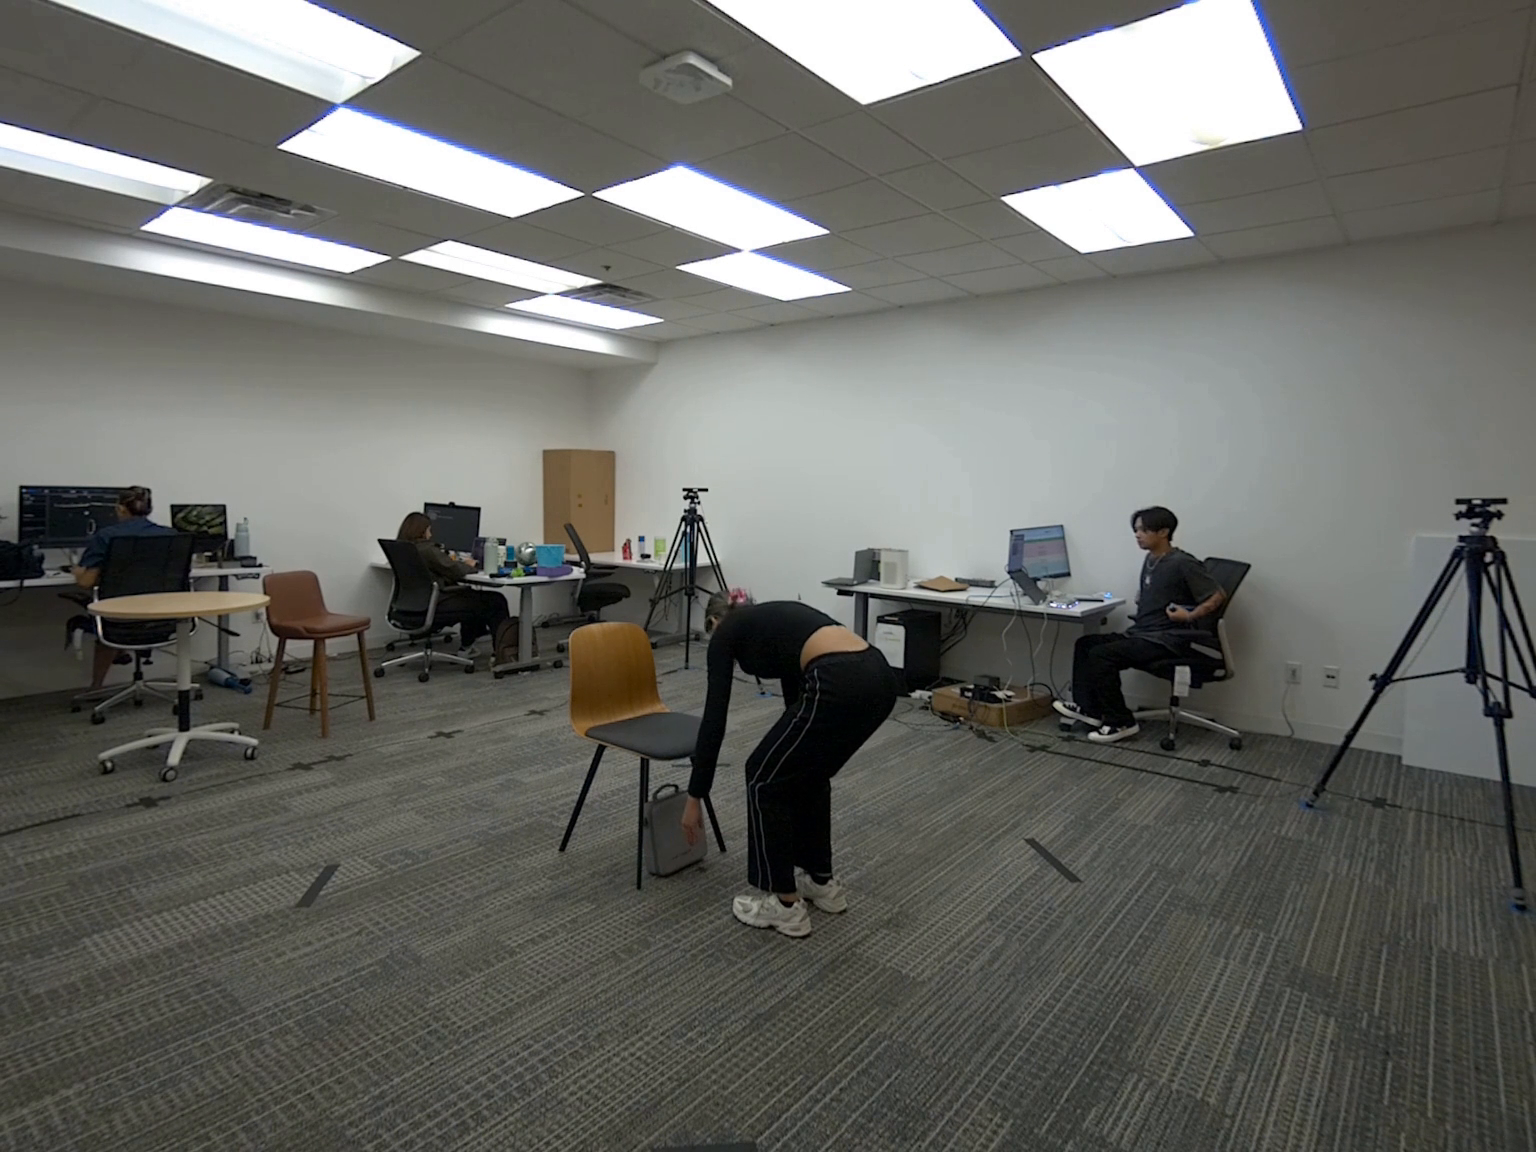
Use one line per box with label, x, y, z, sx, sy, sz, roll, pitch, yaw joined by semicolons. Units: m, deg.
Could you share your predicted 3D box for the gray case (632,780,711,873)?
gray case;-0.359;0.926;3.141;0.107;0.262;0.249;-14;-7;39
